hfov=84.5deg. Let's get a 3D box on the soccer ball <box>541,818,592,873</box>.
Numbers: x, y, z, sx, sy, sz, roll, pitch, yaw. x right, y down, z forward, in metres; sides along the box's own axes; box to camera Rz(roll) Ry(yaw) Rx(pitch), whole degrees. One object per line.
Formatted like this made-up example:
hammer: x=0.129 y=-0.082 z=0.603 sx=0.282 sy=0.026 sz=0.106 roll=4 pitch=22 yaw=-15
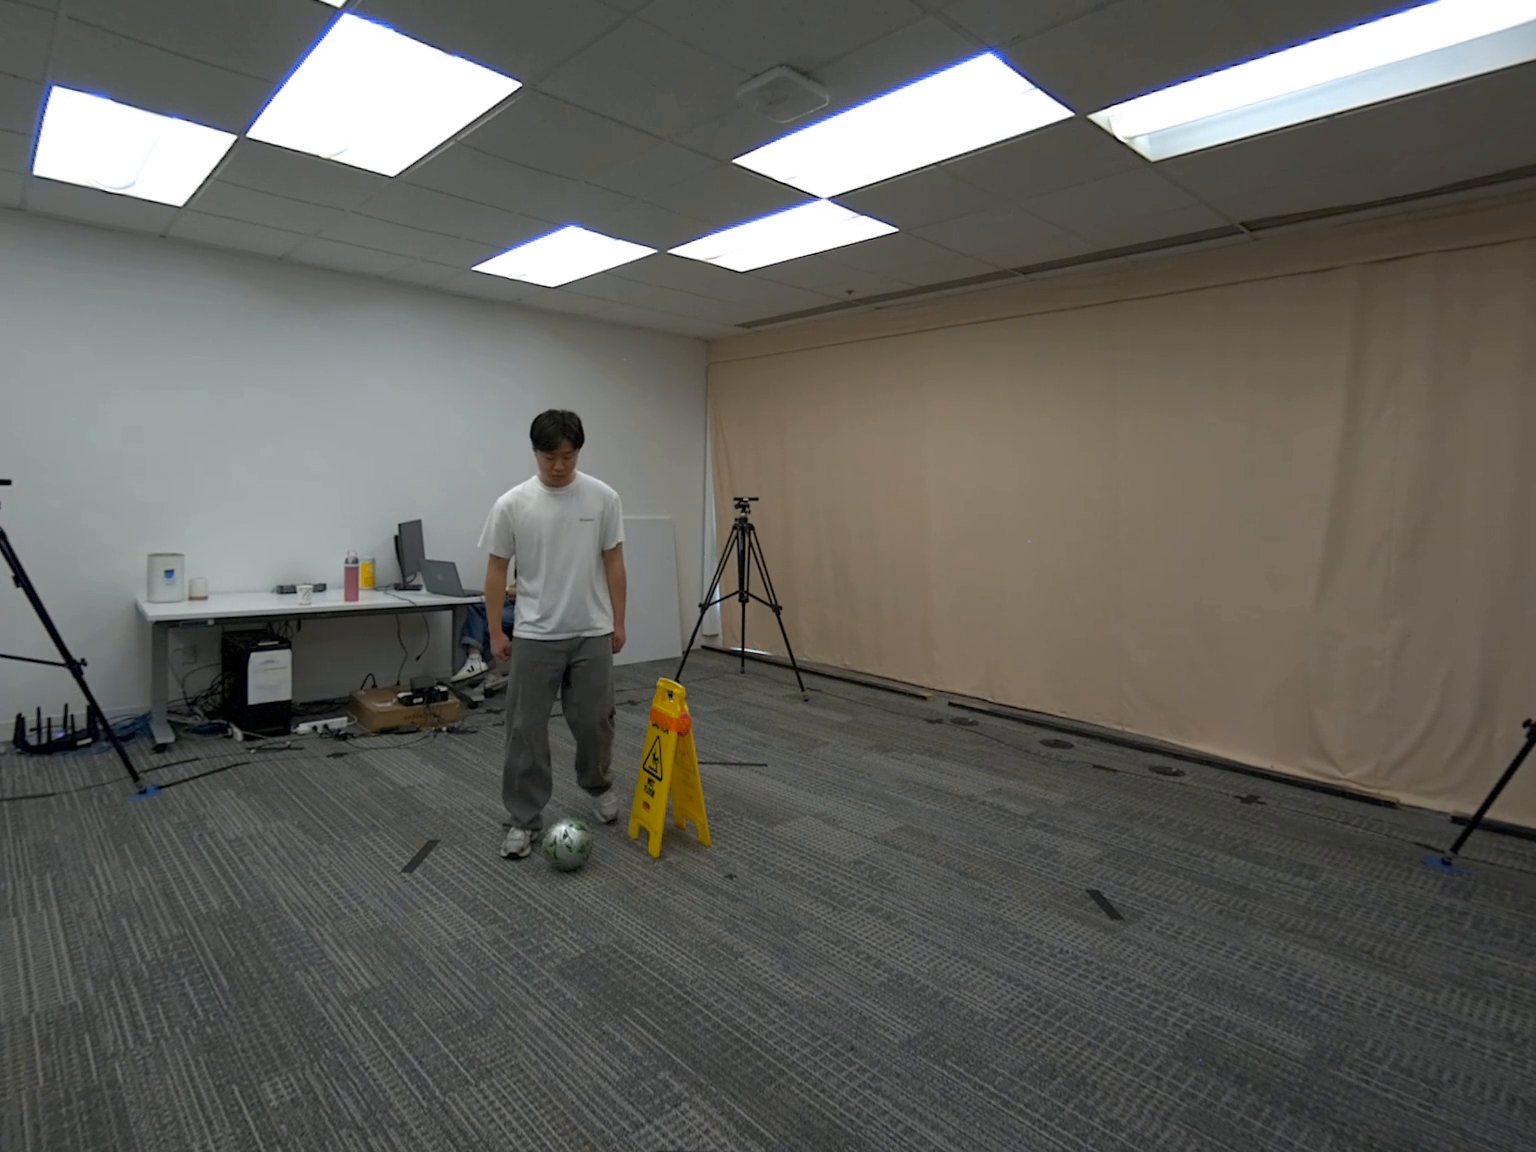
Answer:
soccer ball: x=-0.755 y=1.001 z=3.128 sx=0.187 sy=0.187 sz=0.188 roll=1 pitch=4 yaw=-1
